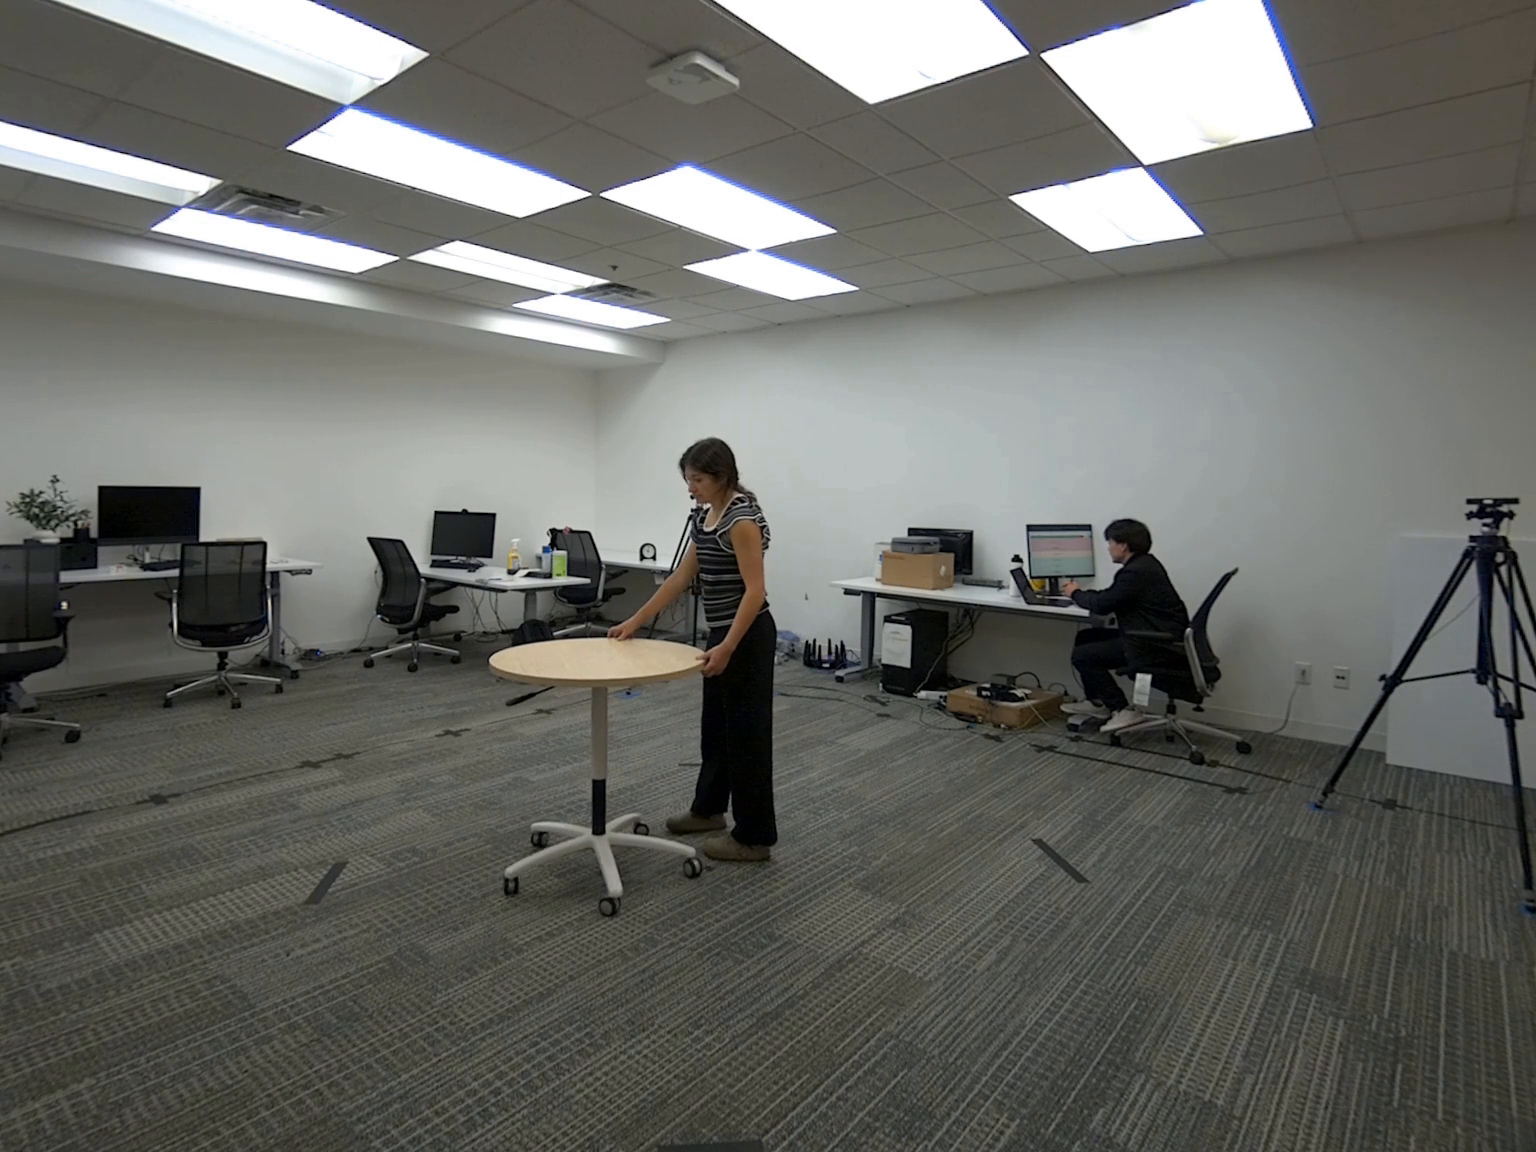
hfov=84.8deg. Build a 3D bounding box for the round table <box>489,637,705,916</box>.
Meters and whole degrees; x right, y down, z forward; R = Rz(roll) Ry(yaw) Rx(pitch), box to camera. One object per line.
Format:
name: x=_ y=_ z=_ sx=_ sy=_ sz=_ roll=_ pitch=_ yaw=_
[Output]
round table: x=-0.630 y=0.670 z=3.049 sx=0.784 sy=0.784 sz=0.788 roll=1 pitch=3 yaw=-2
